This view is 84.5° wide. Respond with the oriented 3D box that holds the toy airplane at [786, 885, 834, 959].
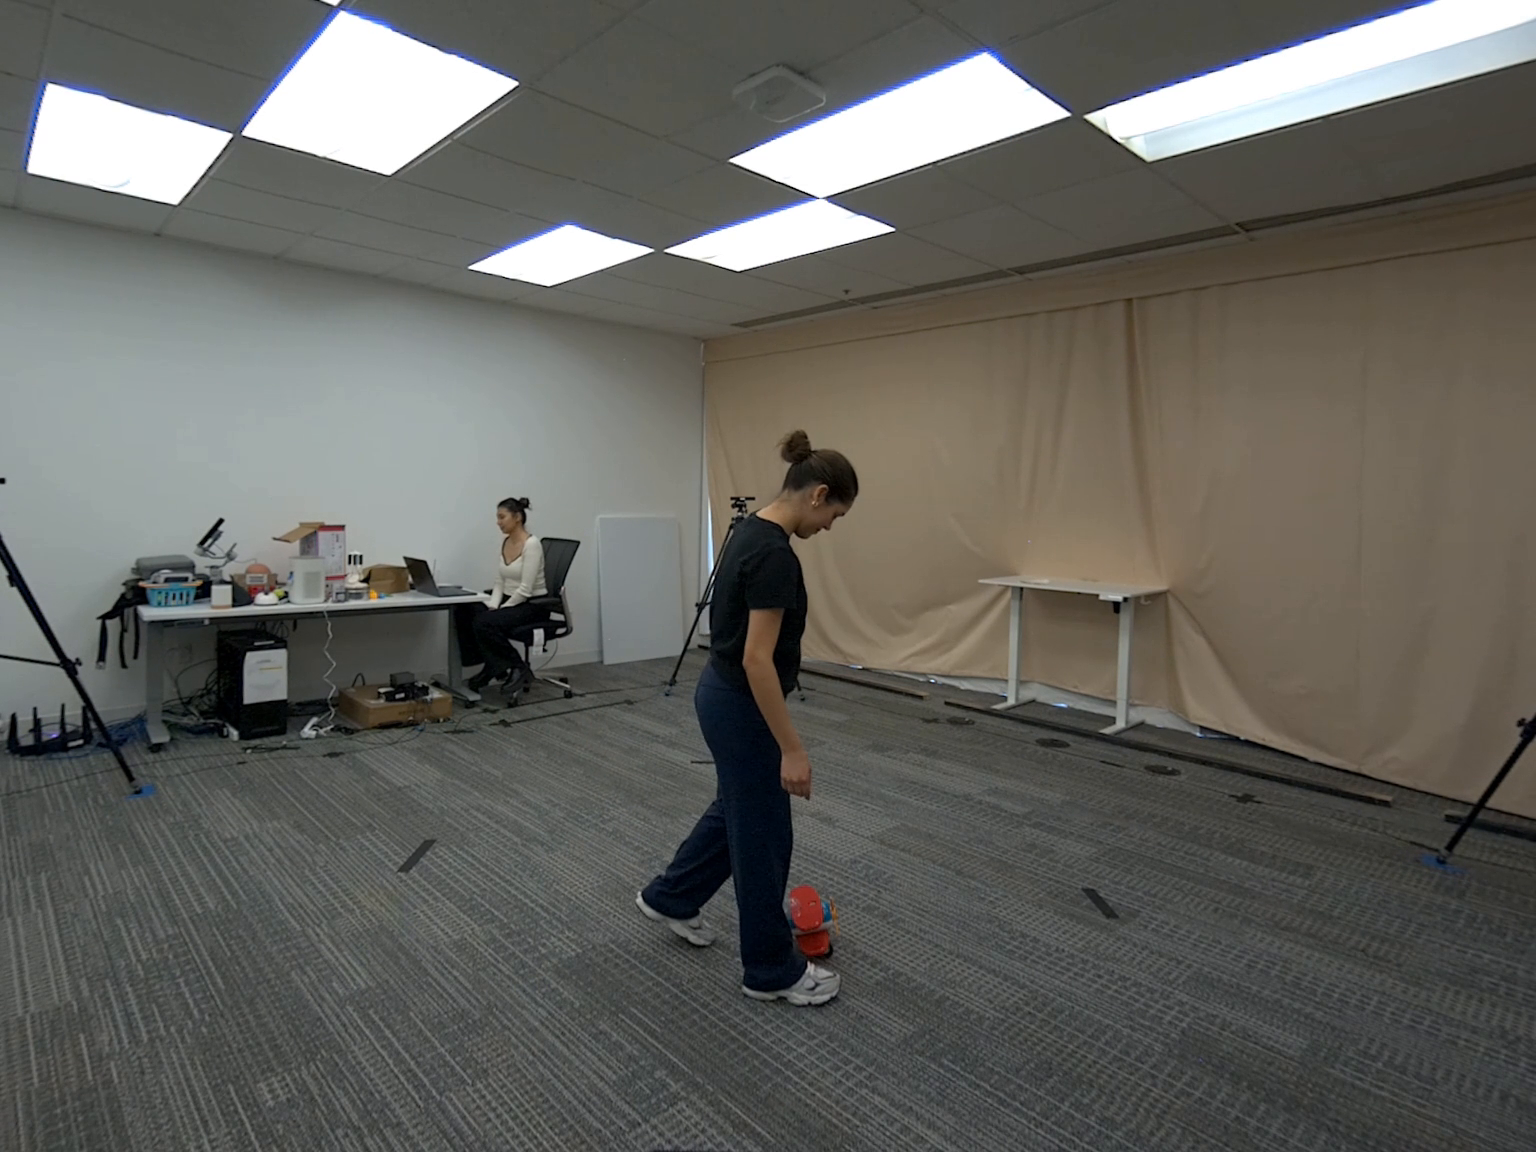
[{"bbox_3d":[0.087,1.086,2.572,0.254,0.156,0.257,-3,7,-32],"label":"toy airplane"}]
